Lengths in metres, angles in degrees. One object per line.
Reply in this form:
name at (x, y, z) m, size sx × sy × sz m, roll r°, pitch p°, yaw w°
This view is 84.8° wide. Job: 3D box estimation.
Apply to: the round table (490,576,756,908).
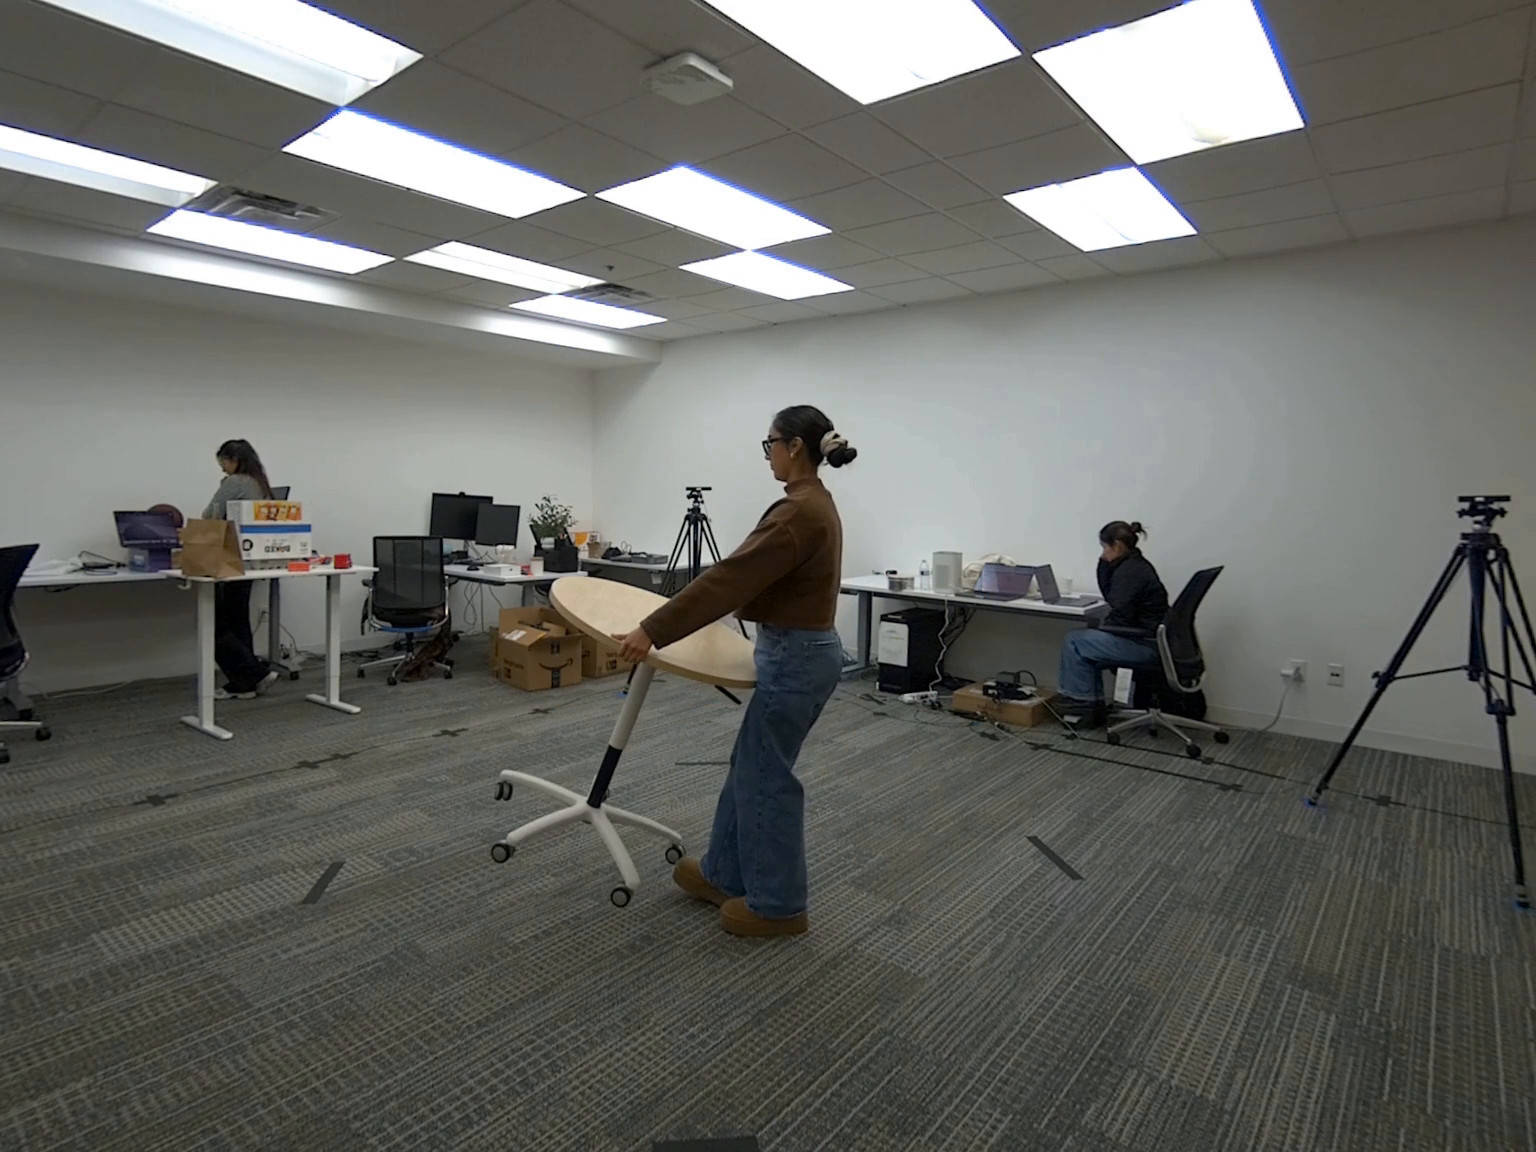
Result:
round table at (-0.513, 0.523, 2.802) m, size 0.782 × 0.784 × 0.792 m, roll 21°, pitch 7°, yaw -5°
